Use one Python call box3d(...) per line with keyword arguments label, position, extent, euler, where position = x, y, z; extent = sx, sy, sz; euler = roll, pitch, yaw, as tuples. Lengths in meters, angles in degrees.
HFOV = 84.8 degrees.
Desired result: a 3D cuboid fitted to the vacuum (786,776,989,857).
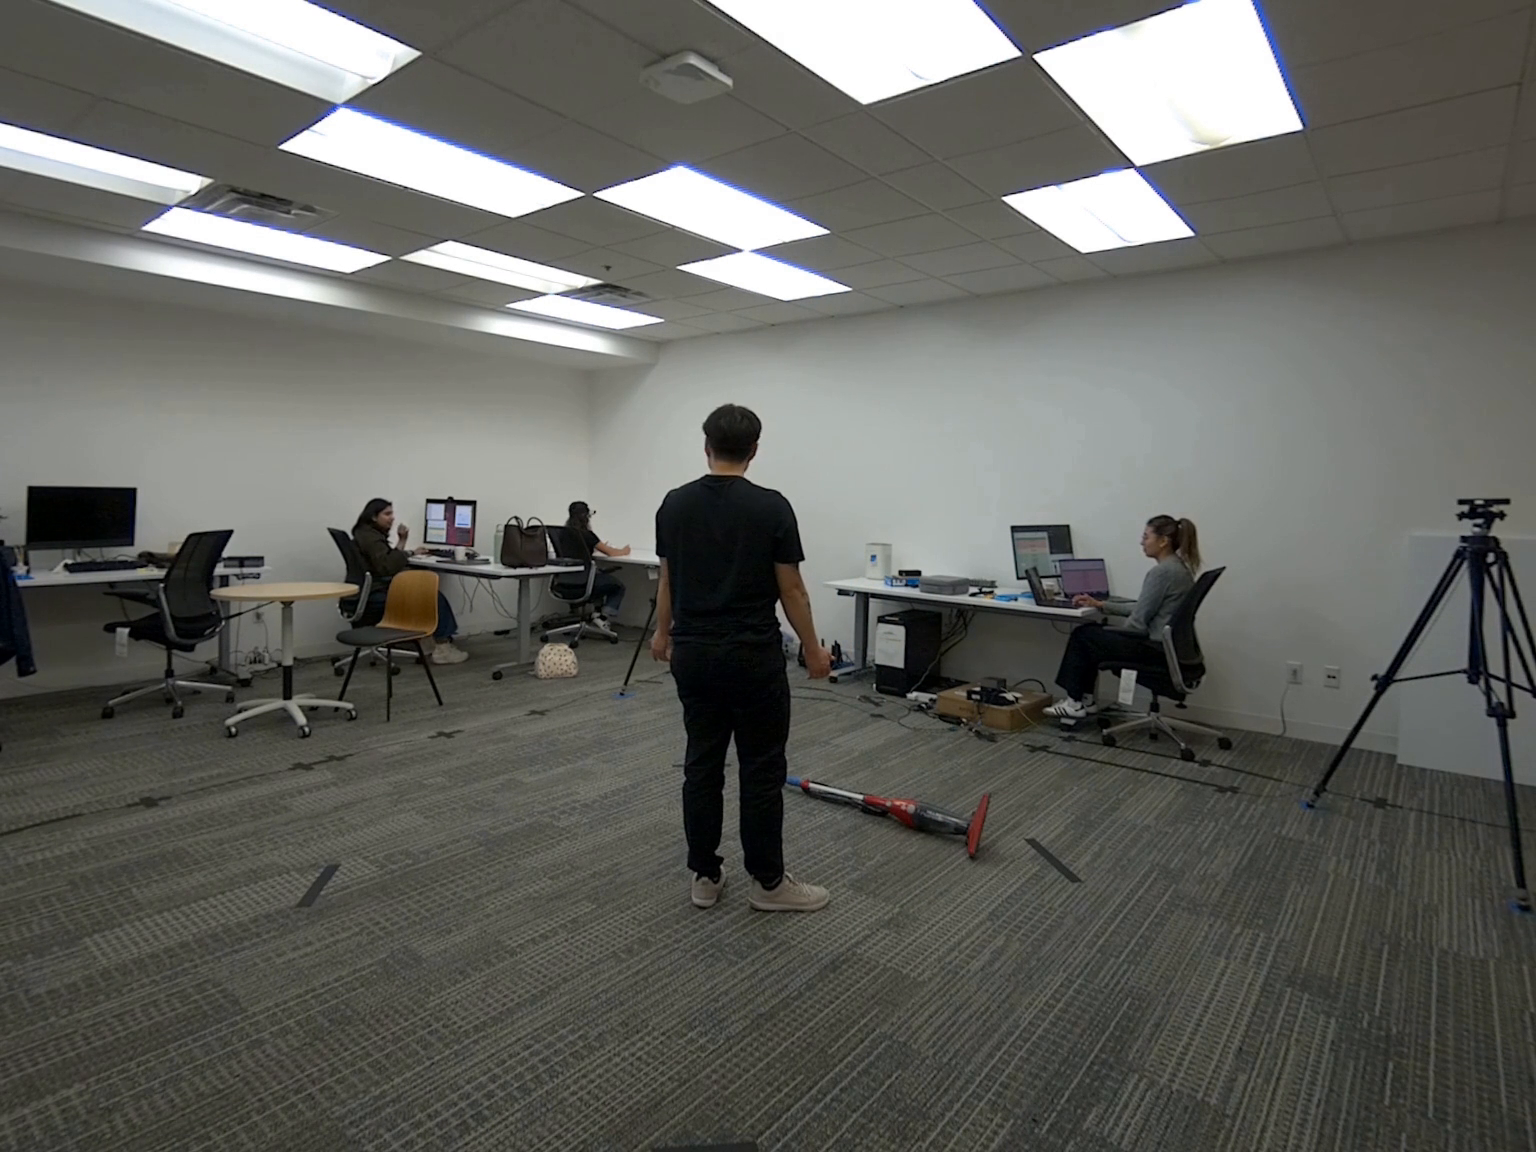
box3d(label="vacuum", position=(0.430, 0.976, 3.686), extent=(1.083, 0.255, 0.138), euler=(1, -35, 43))
